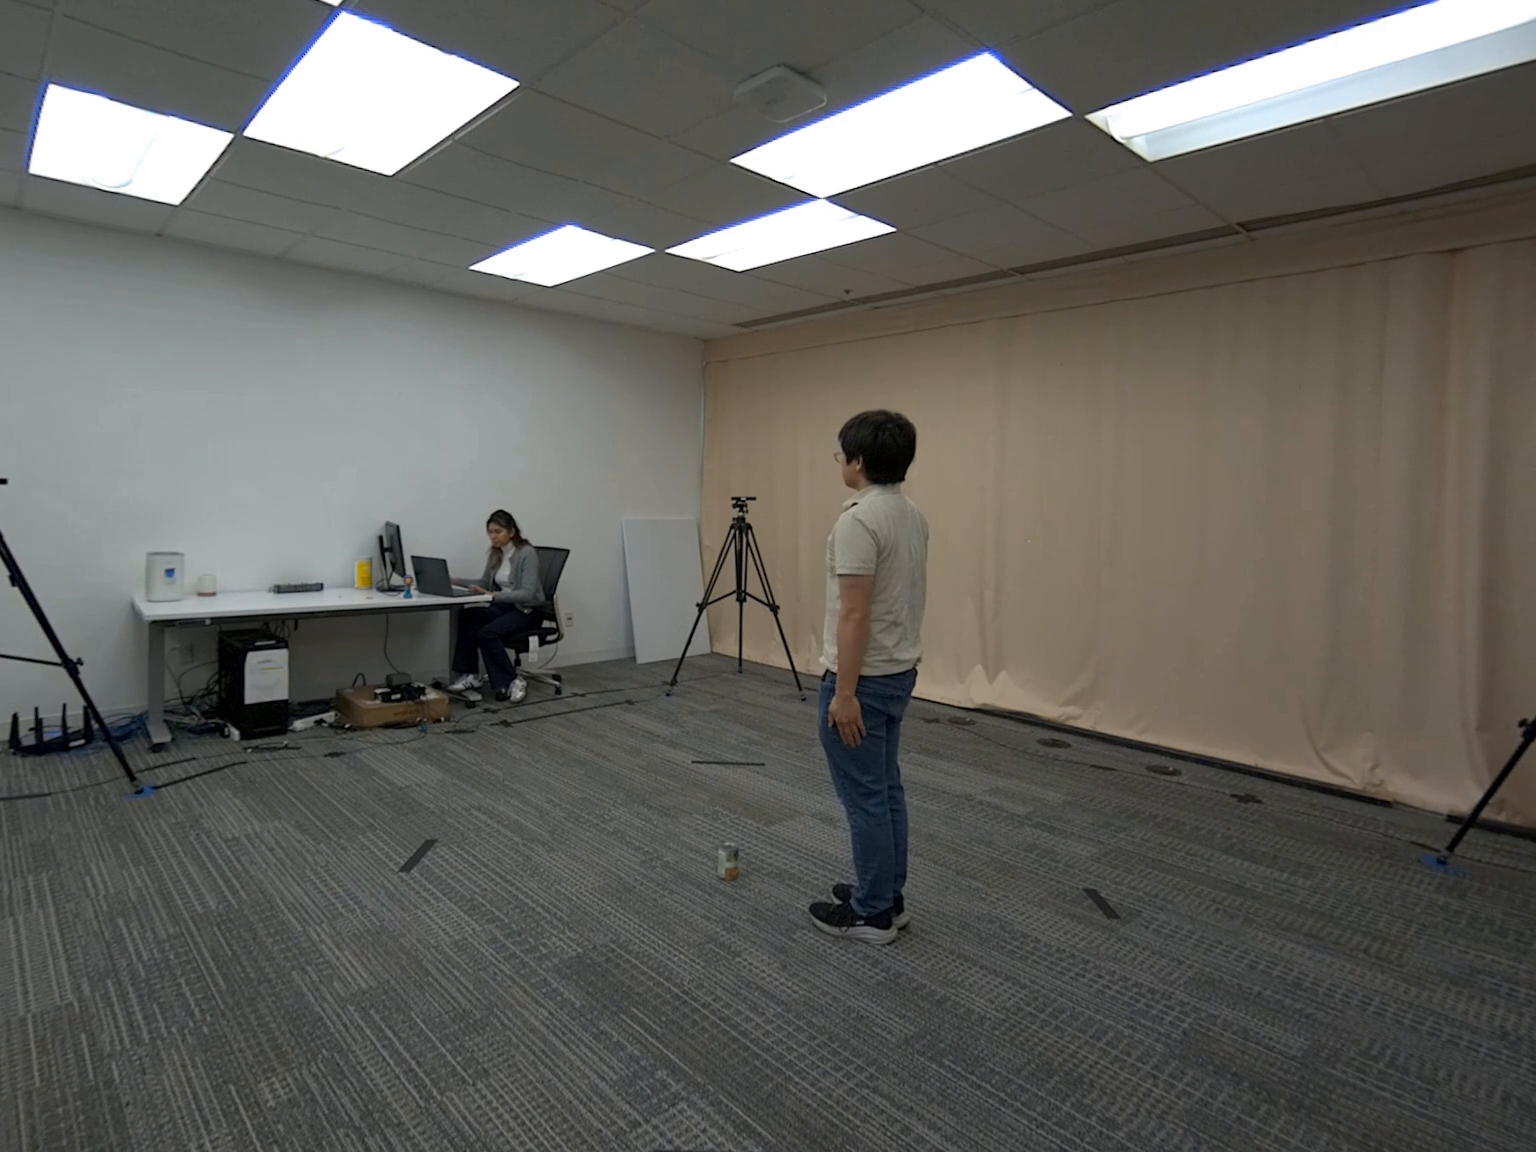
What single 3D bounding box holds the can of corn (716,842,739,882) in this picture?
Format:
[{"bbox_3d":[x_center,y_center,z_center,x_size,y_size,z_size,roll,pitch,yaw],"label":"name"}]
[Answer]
[{"bbox_3d":[-0.158,1.054,3.101,0.074,0.111,0.074,-3,3,-1],"label":"can of corn"}]
